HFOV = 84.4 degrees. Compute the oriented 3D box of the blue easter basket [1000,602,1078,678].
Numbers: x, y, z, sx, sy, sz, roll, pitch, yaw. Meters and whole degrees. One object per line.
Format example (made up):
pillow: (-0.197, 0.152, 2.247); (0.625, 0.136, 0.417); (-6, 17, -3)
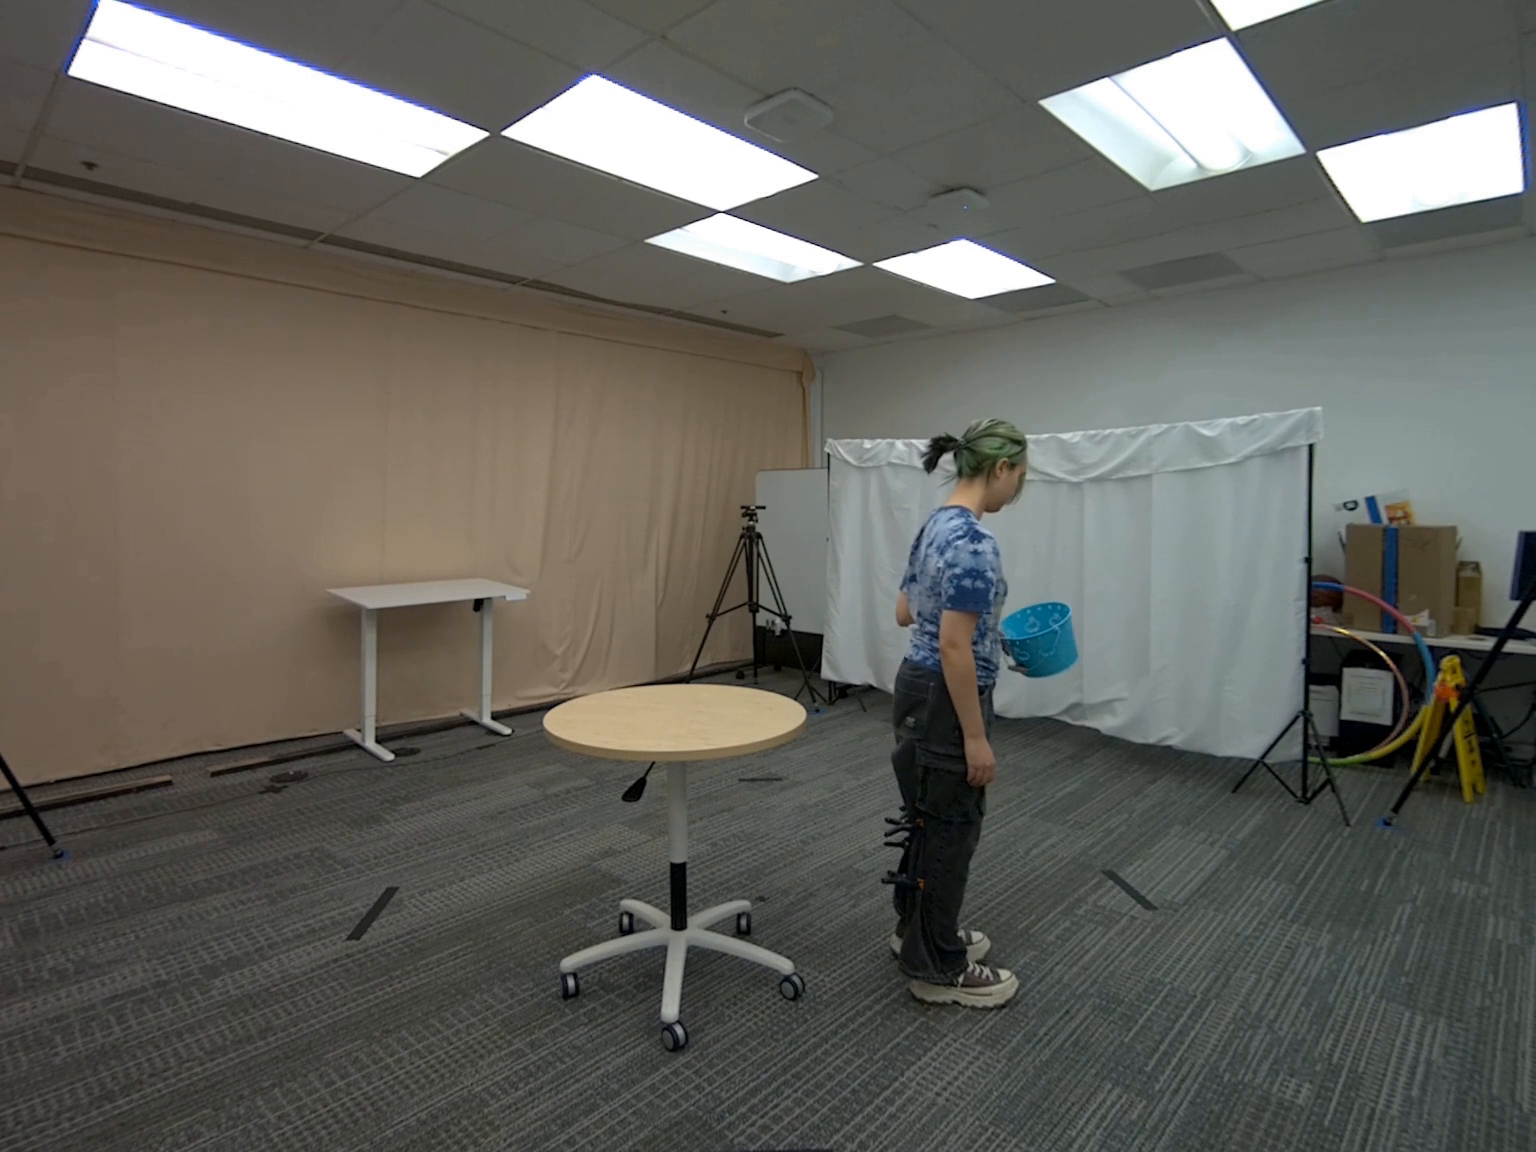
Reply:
blue easter basket: (0.842, 0.206, 2.600); (0.244, 0.154, 0.246); (-23, 12, 3)
